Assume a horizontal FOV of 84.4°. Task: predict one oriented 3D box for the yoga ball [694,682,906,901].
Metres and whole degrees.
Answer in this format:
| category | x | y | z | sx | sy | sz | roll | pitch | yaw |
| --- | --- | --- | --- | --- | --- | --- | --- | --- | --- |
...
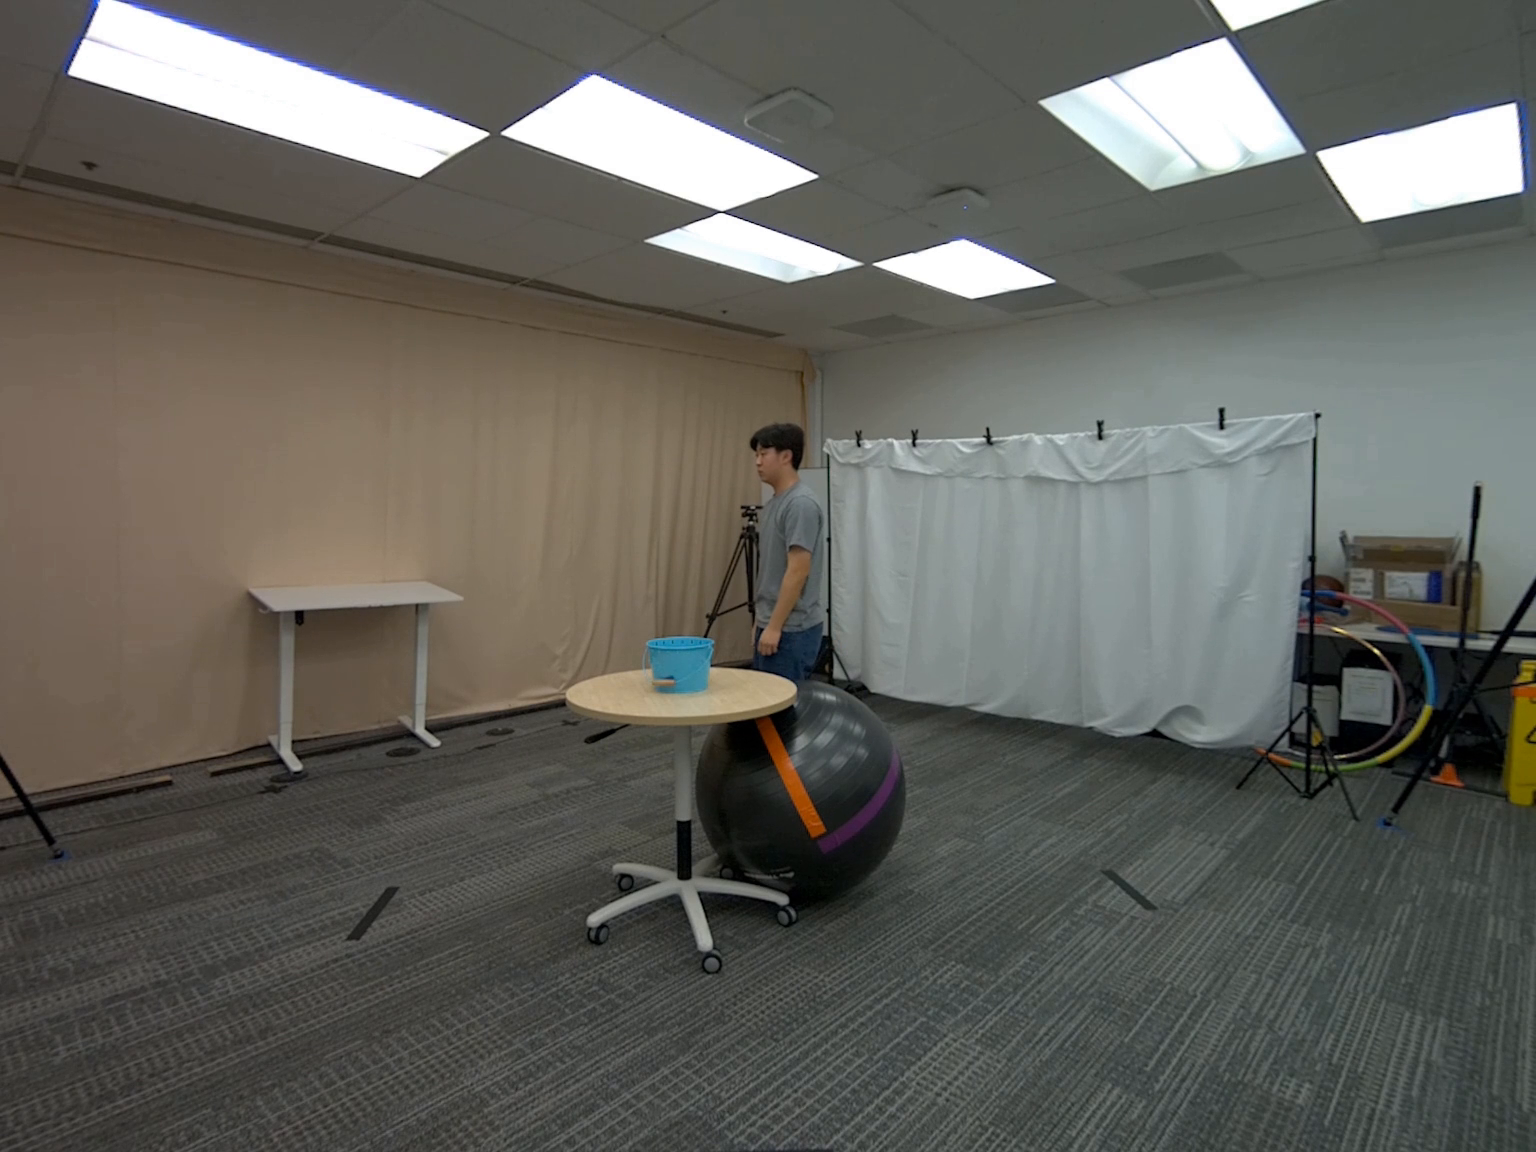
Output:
| category | x | y | z | sx | sy | sz | roll | pitch | yaw |
| --- | --- | --- | --- | --- | --- | --- | --- | --- | --- |
| yoga ball | 0.130 | 0.769 | 3.055 | 0.757 | 0.756 | 0.760 | 0 | 4 | -2 |
